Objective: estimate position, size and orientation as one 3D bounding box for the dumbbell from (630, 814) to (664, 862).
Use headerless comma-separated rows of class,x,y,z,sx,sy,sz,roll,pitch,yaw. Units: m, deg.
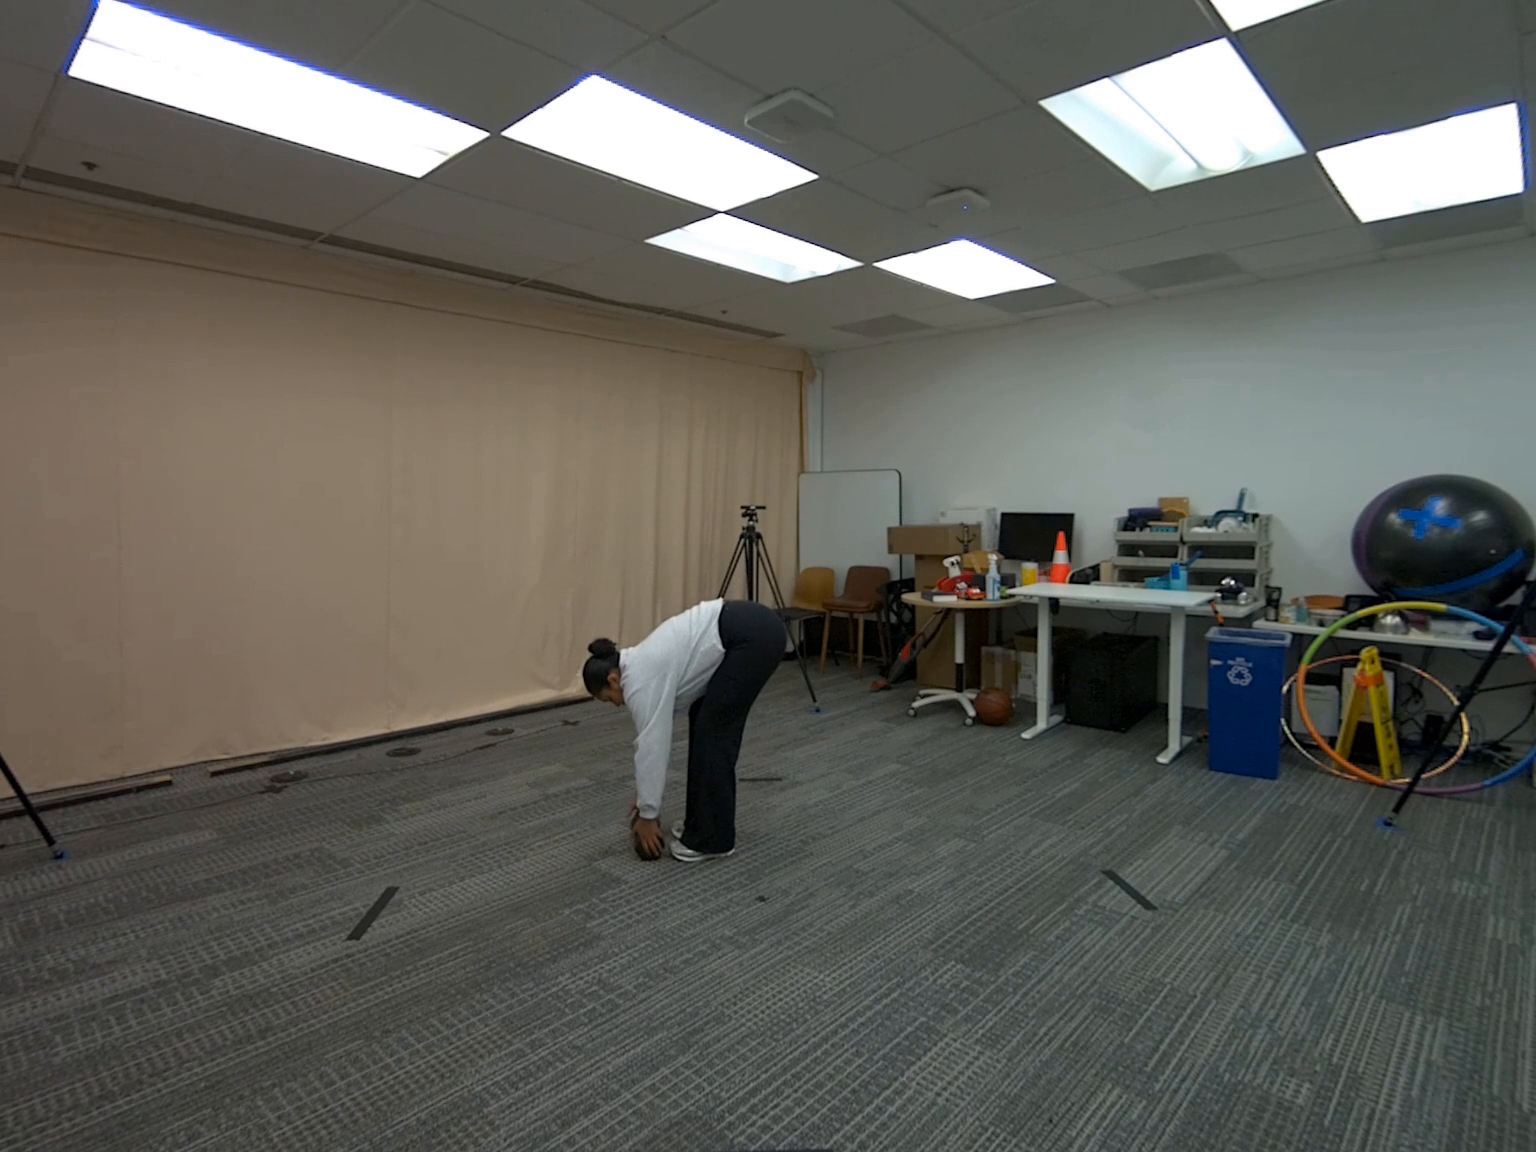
dumbbell,-0.486,1.067,3.444,0.108,0.122,0.298,-32,10,-8
